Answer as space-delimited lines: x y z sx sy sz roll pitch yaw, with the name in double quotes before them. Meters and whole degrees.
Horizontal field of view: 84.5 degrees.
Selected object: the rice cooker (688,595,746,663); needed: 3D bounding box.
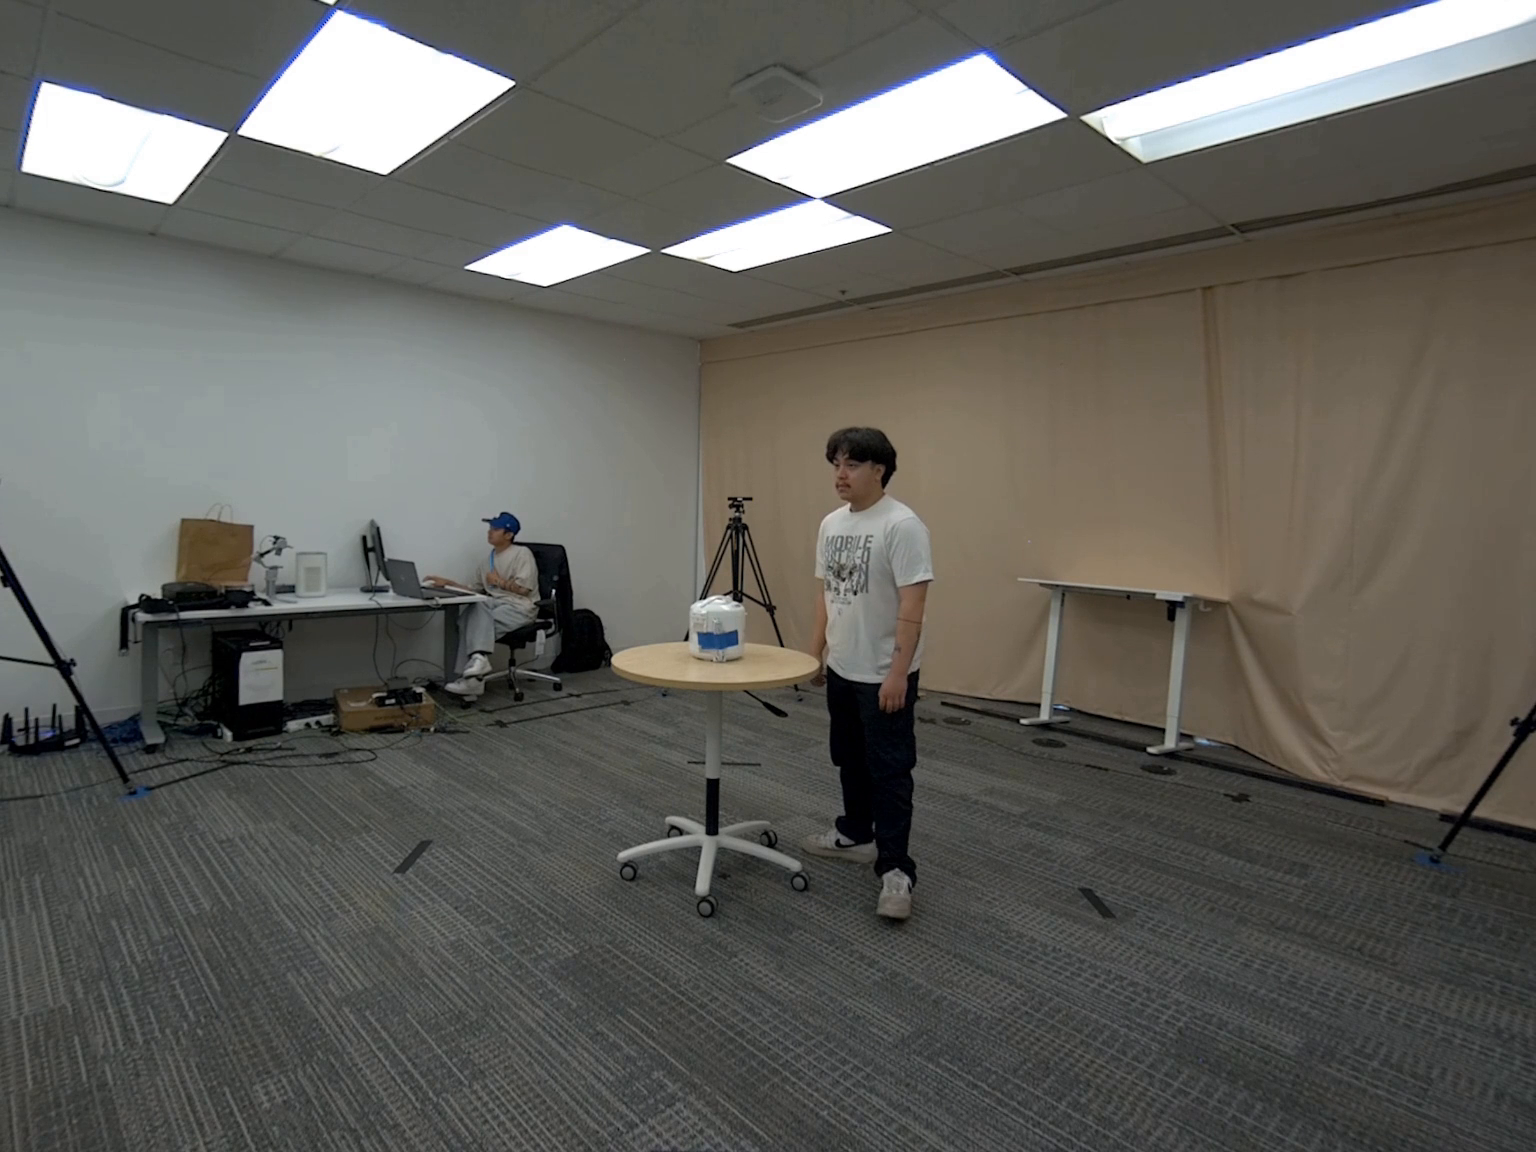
"rice cooker" -0.197 0.183 3.151 0.223 0.232 0.216 6 6 39
